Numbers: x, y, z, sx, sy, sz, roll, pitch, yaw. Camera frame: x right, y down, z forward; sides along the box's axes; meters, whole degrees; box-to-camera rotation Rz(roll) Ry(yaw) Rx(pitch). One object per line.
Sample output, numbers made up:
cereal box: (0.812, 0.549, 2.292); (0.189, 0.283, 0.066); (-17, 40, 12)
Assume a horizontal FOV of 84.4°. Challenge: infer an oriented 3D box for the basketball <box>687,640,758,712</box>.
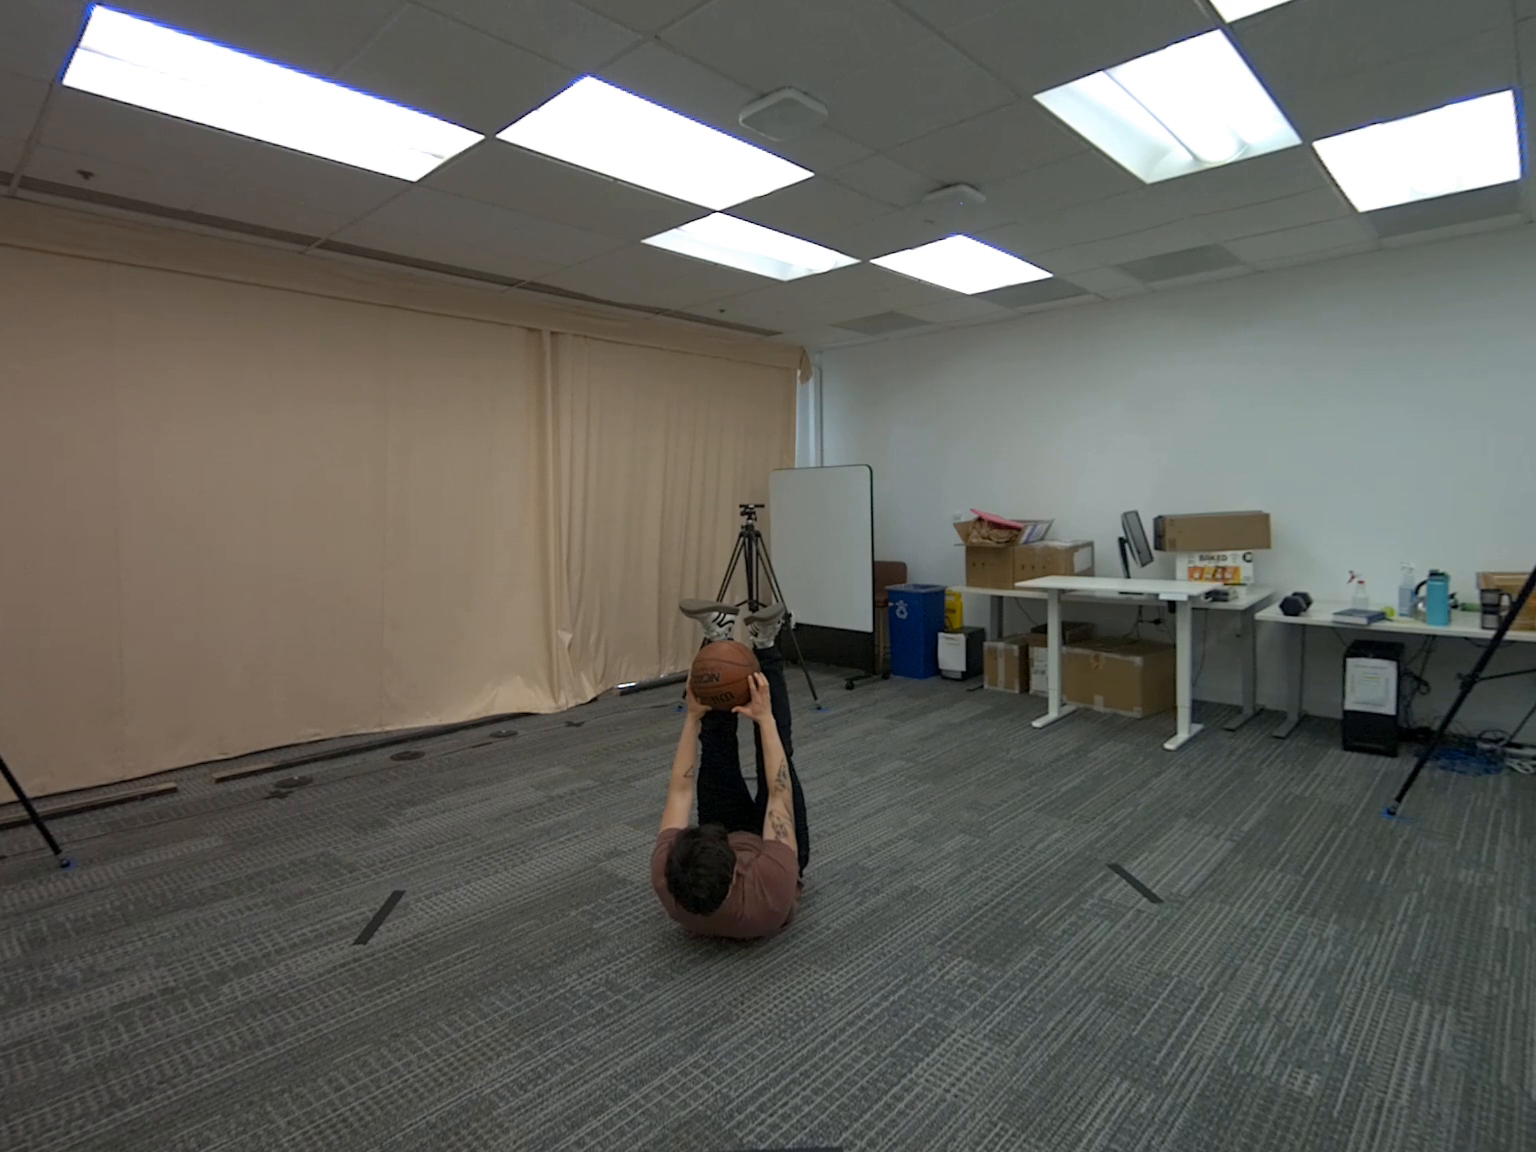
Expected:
basketball: (-0.135, 0.334, 2.815); (0.235, 0.235, 0.237); (3, 5, -2)
